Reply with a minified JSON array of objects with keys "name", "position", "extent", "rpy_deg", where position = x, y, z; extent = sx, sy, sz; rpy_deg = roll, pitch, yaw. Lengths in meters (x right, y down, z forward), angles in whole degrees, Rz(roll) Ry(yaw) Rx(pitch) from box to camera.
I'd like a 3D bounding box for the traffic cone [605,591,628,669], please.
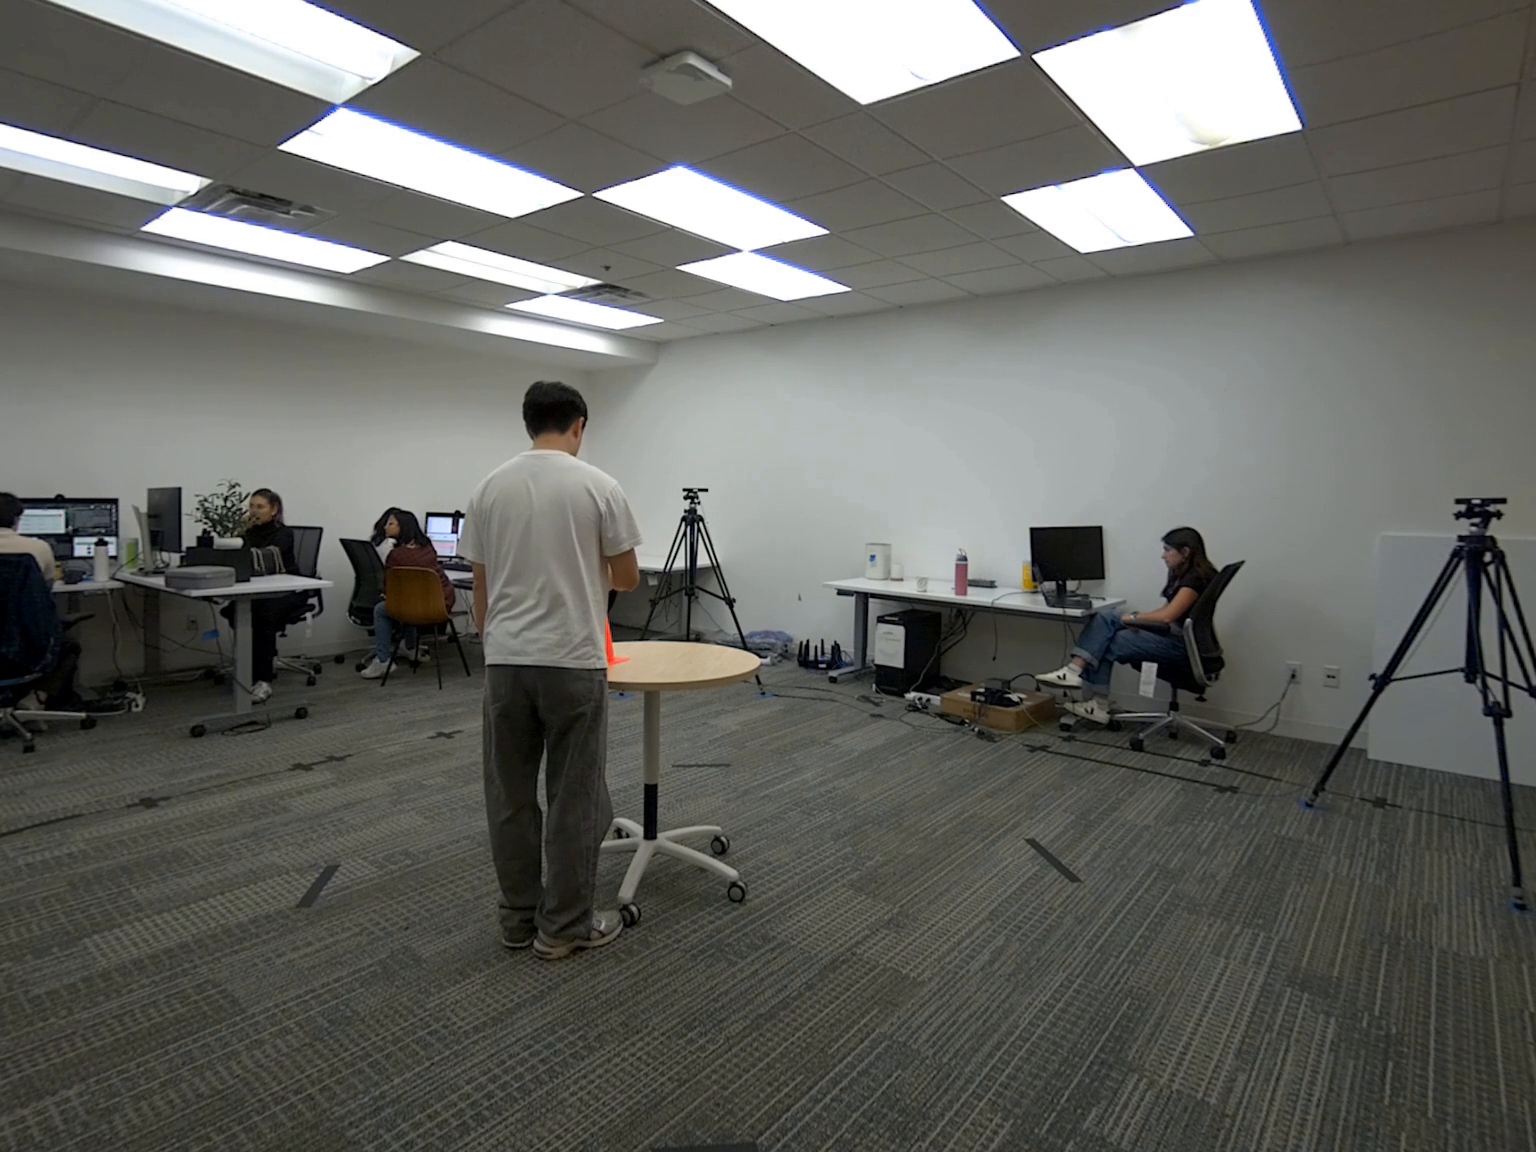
[{"name":"traffic cone","position":[-0.600,0.098,2.962],"extent":[0.210,0.383,0.199],"rpy_deg":[3,3,24]}]
